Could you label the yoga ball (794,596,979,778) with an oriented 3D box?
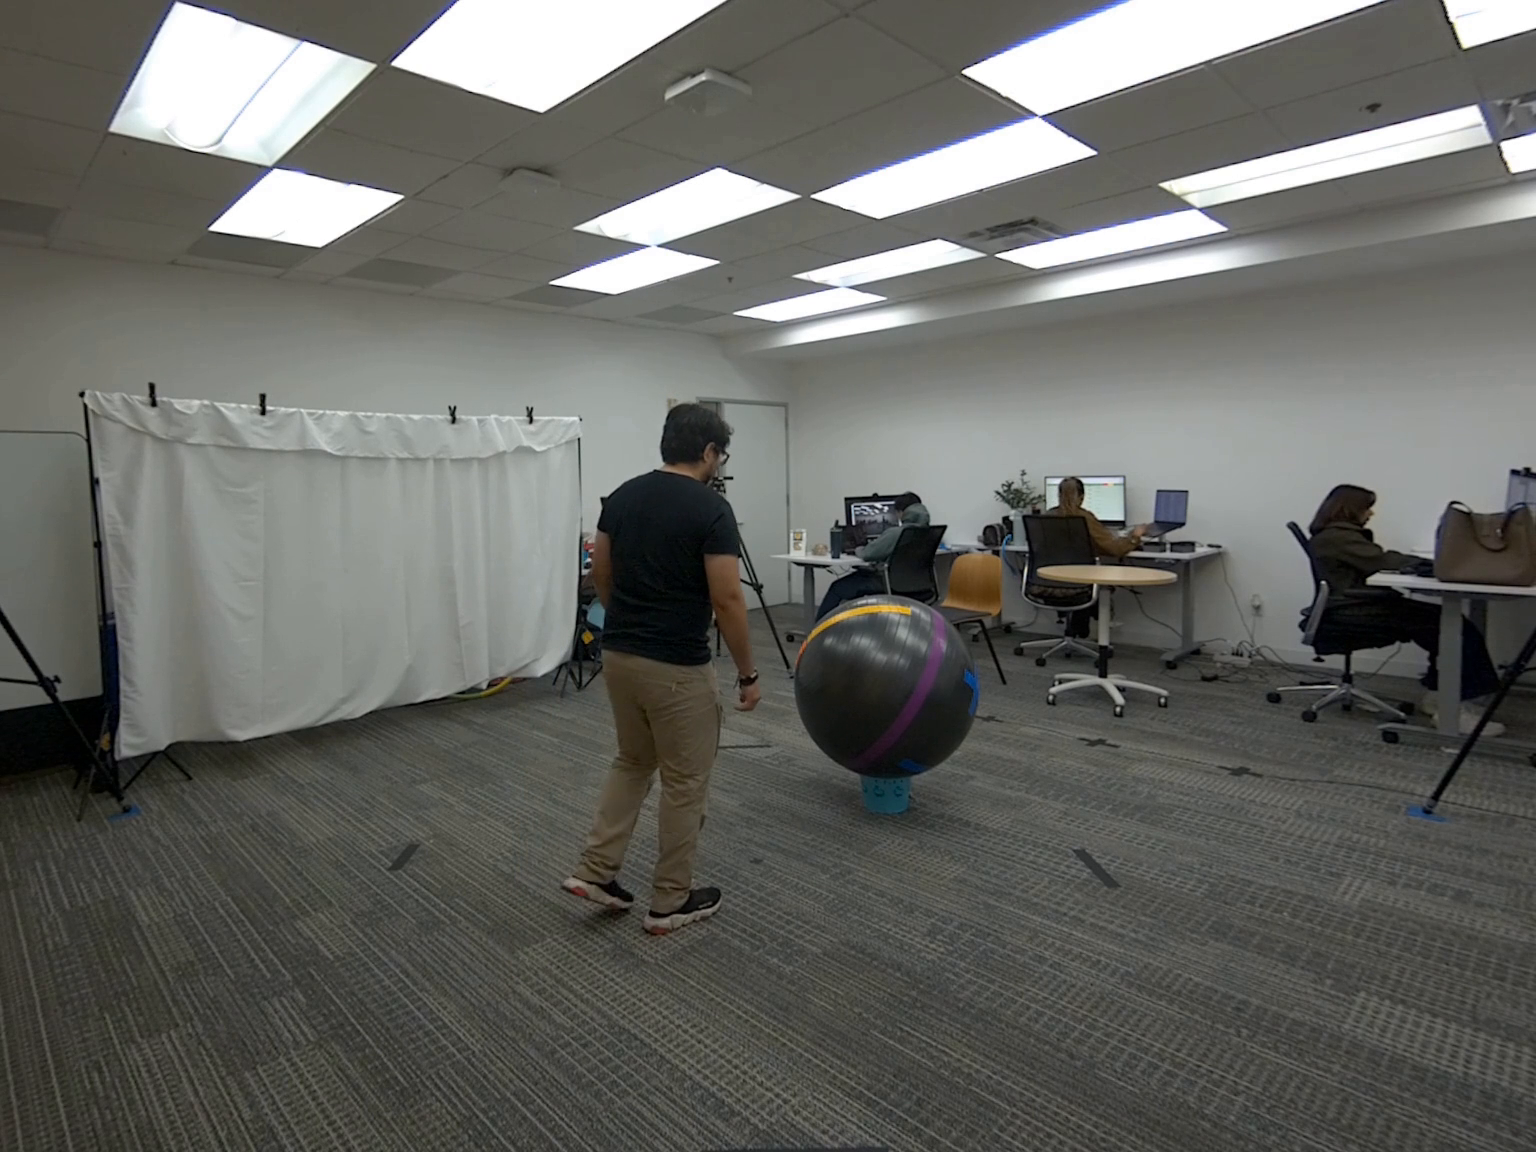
[{"bbox_3d":[0.490,0.462,3.587,0.757,0.755,0.762,-1,5,-2],"label":"yoga ball"}]
